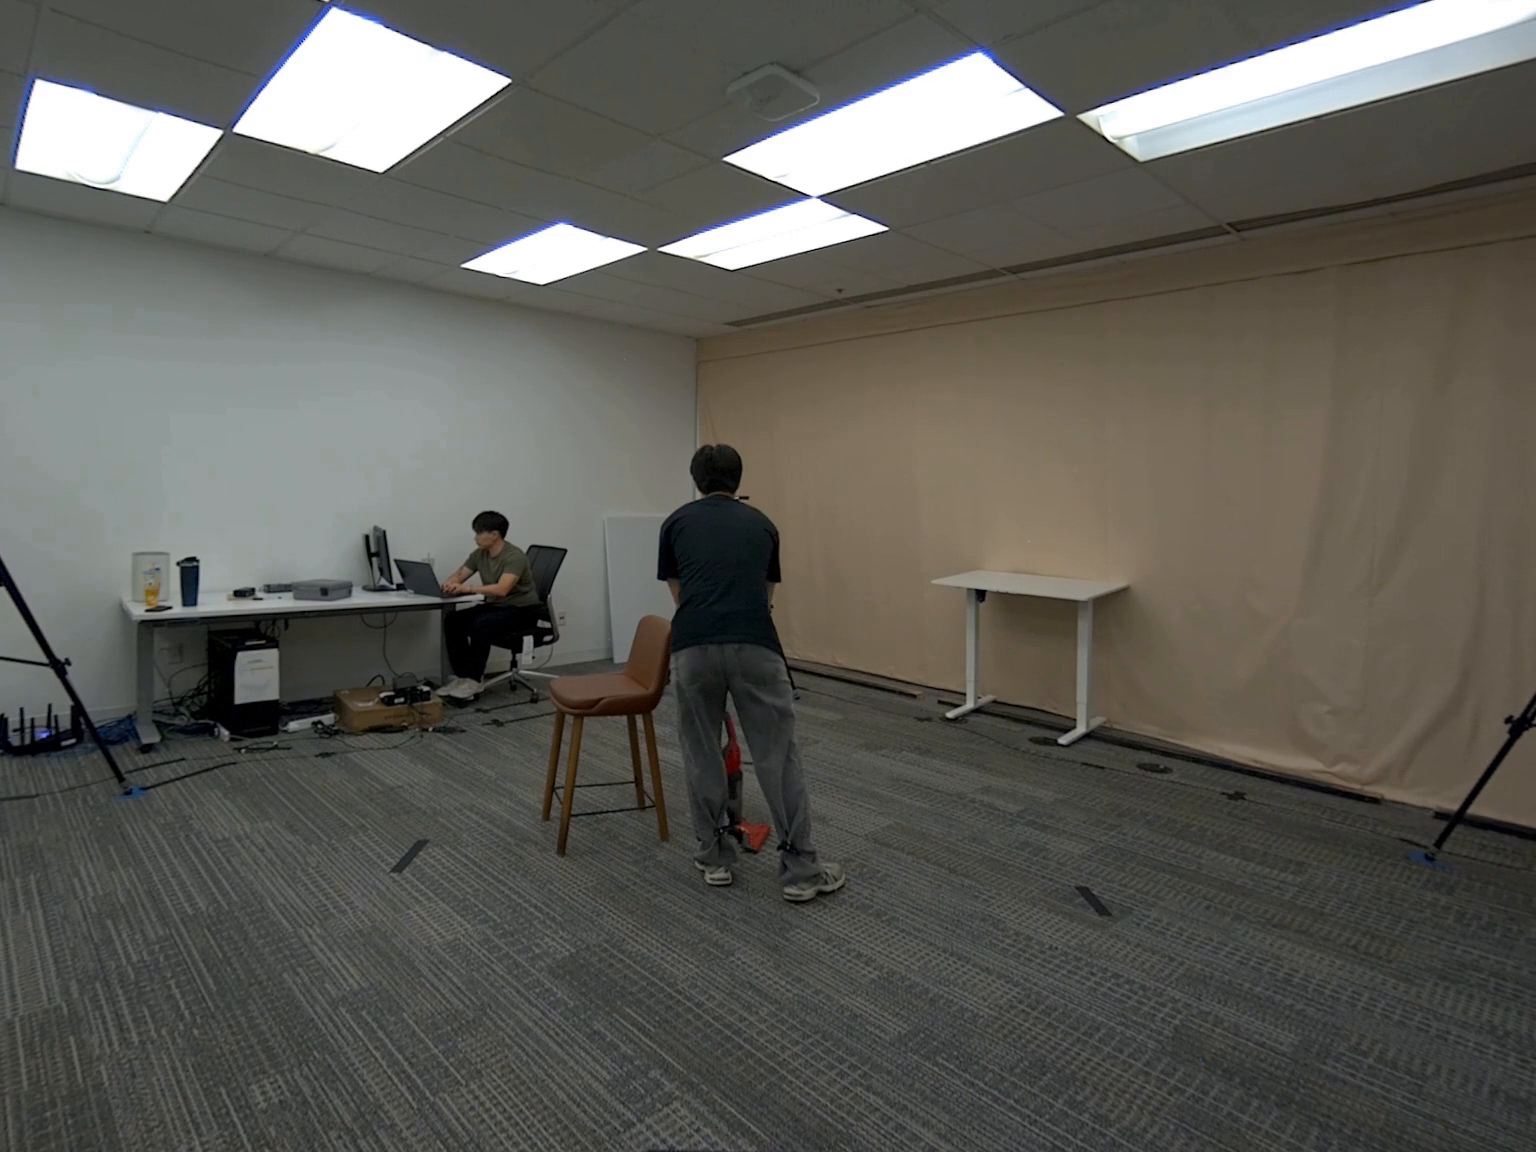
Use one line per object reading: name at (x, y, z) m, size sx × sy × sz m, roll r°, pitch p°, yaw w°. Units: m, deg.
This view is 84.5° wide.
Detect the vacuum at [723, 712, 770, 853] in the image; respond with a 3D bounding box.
vacuum at (-0.217, 0.551, 3.441) m, size 0.145 × 1.050 × 0.251 m, roll -15°, pitch -1°, yaw 9°
